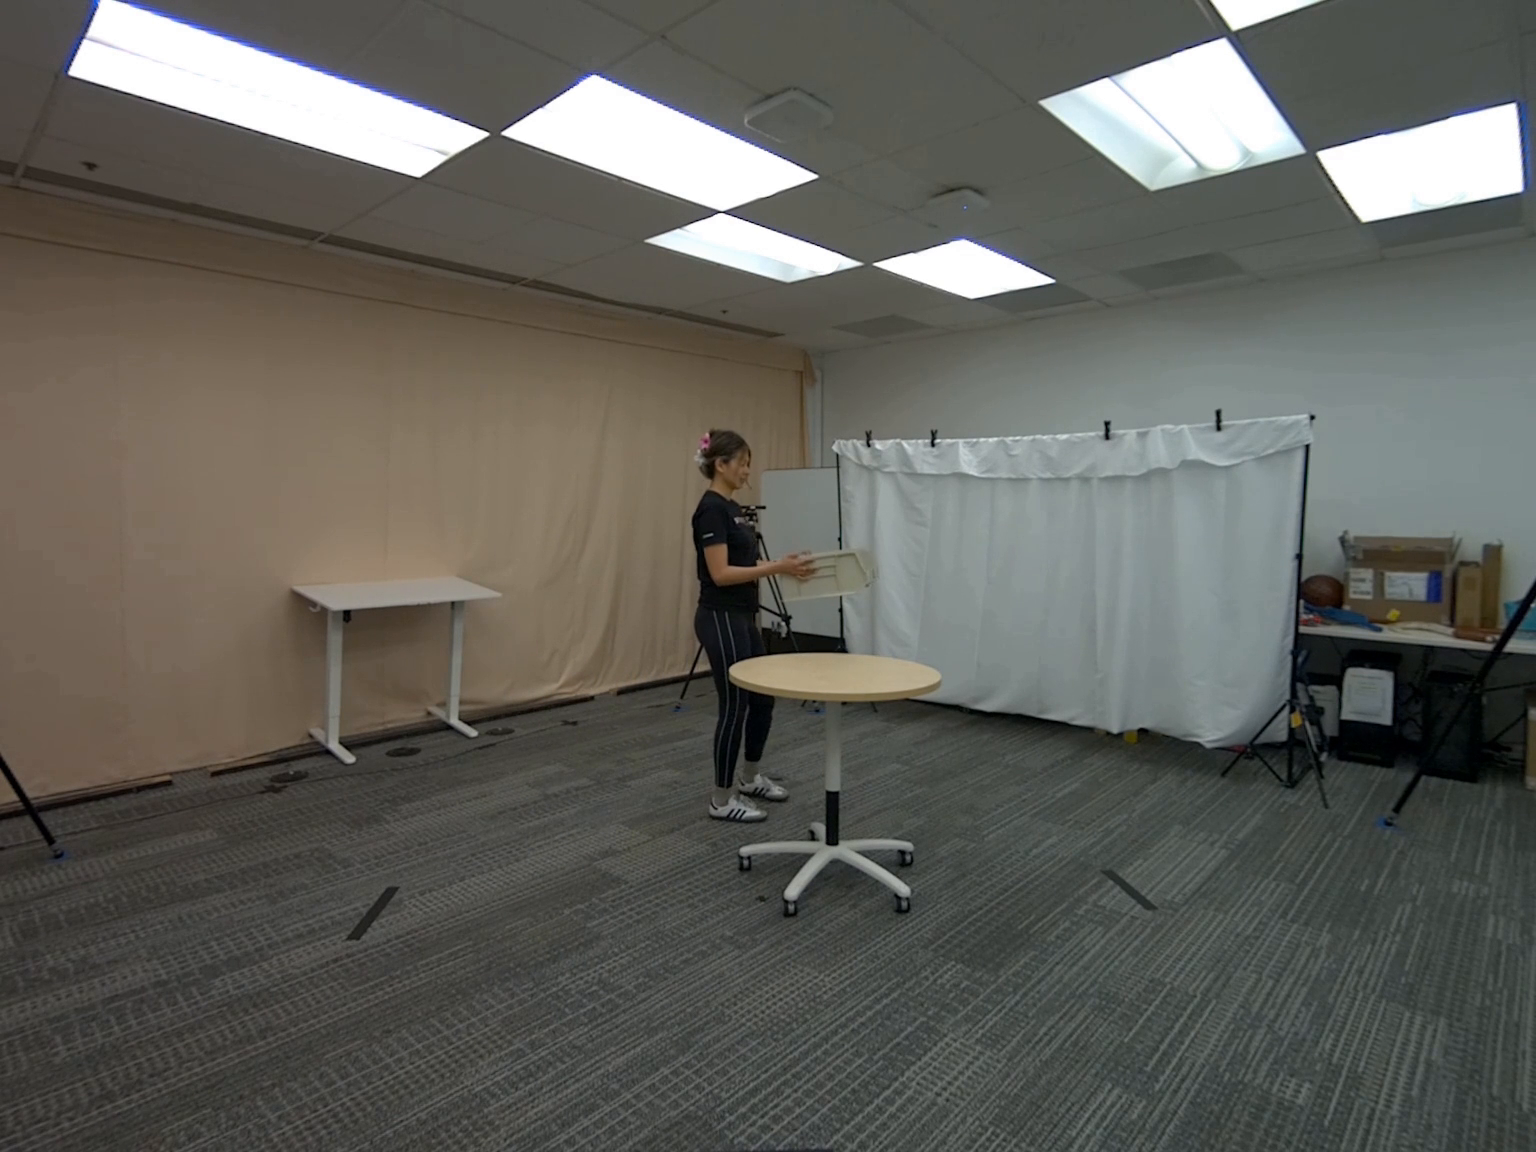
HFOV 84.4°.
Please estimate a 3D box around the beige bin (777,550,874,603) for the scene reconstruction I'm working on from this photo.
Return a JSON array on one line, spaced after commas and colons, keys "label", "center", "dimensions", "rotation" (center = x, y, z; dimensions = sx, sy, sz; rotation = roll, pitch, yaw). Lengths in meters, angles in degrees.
[{"label": "beige bin", "center": [0.261, -0.009, 3.660], "dimensions": [0.383, 0.189, 0.417], "rotation": [-8, 2, 14]}]
